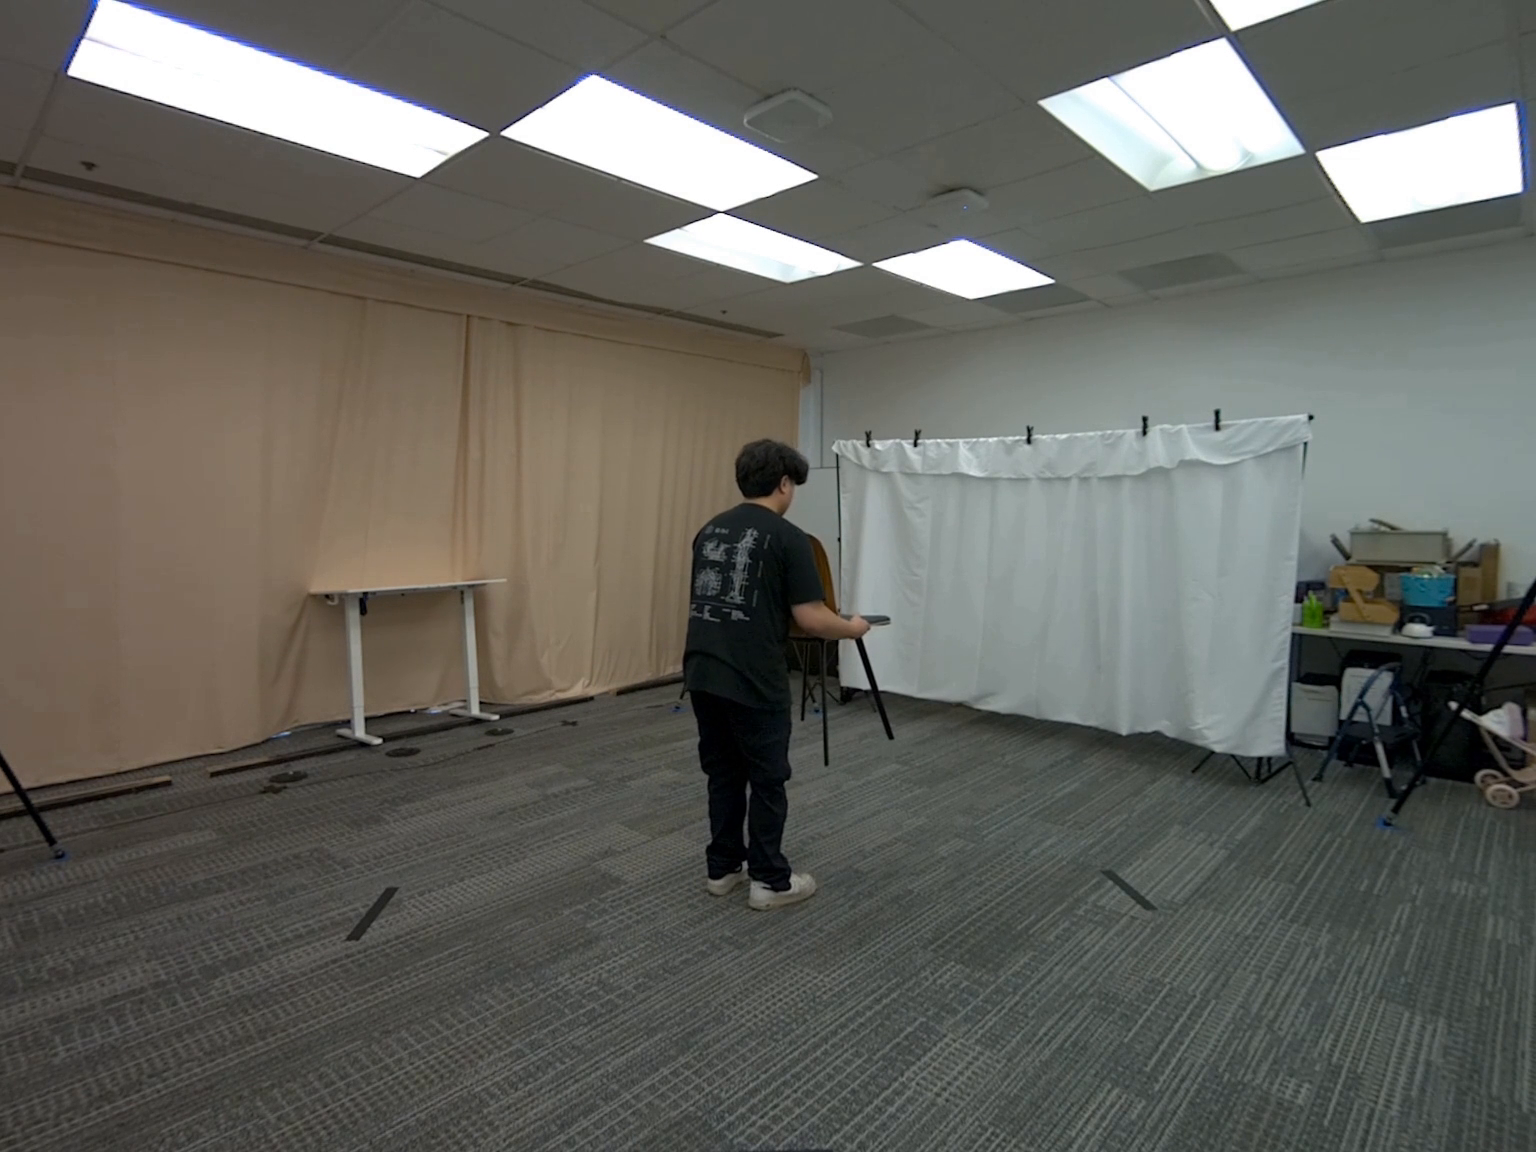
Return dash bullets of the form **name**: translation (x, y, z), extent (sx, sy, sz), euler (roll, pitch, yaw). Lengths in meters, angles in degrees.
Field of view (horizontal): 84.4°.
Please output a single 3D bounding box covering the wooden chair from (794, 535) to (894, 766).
- **wooden chair**: translation (0.187, 0.229, 3.266), extent (0.494, 0.874, 0.508), euler (2, 8, 41)
